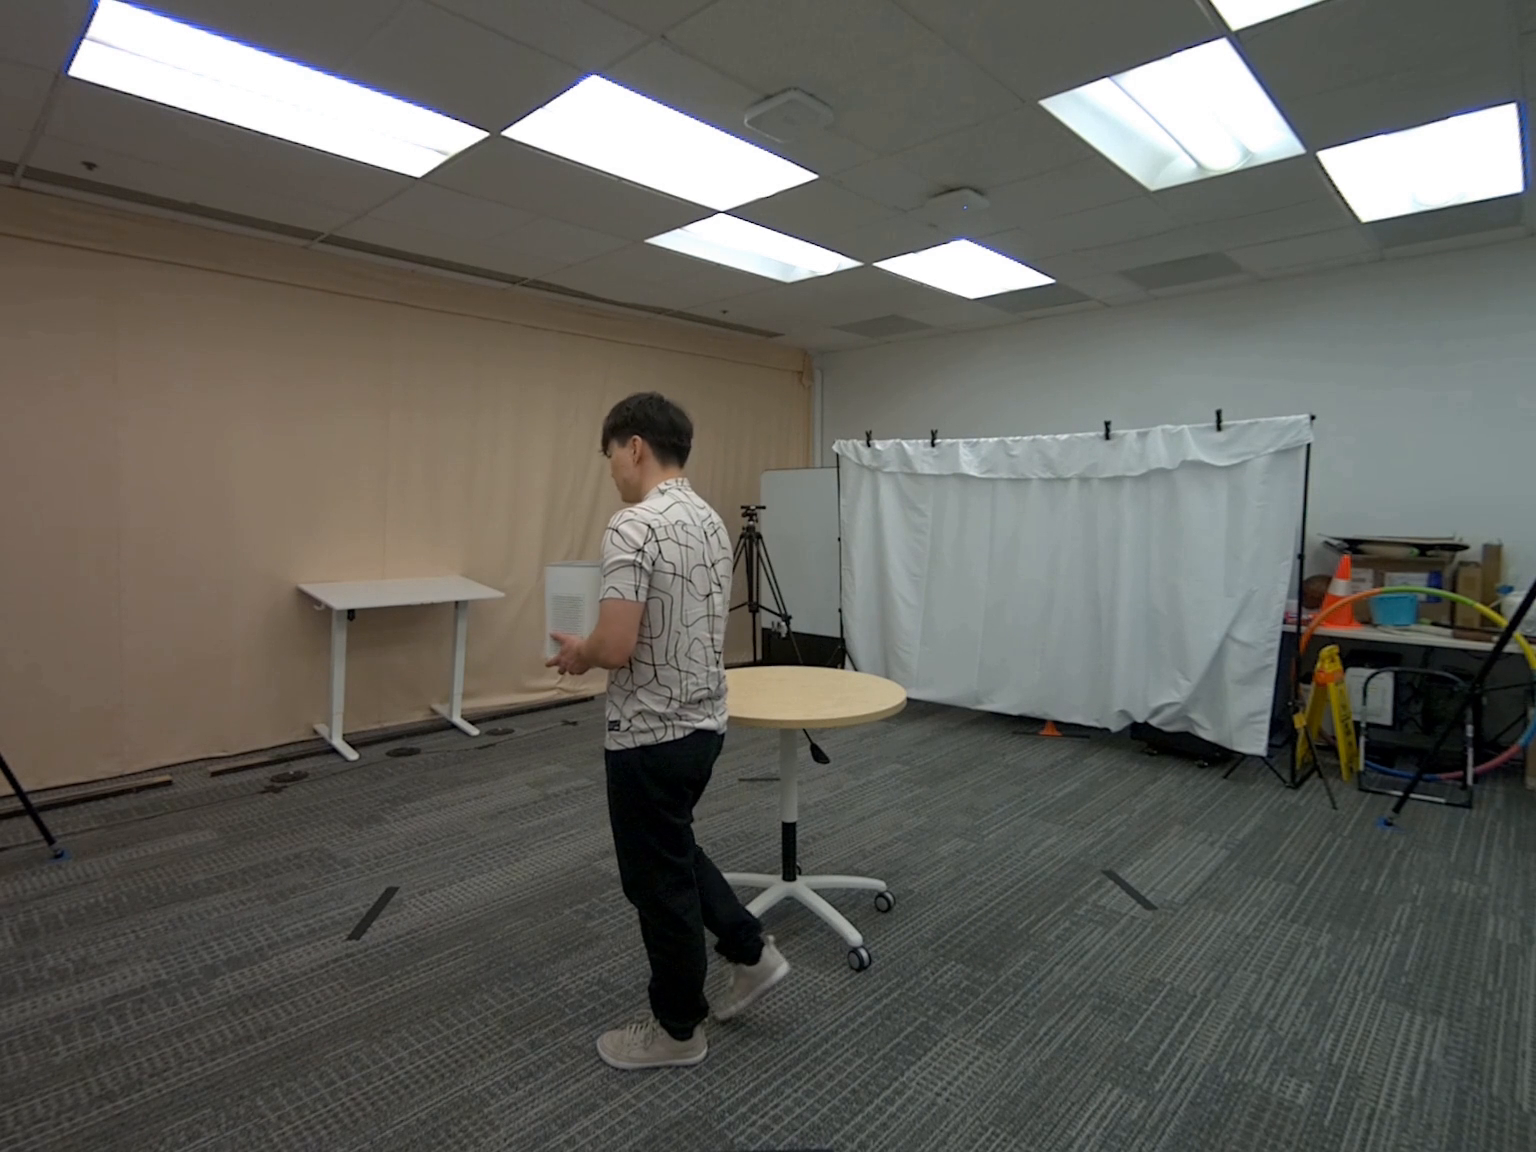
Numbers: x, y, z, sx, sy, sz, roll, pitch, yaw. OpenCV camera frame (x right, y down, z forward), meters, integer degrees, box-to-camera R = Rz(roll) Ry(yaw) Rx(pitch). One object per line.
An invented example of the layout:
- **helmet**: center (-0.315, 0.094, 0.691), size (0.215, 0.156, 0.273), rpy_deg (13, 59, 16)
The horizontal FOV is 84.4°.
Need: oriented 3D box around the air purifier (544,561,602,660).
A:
- **air purifier**: center (-0.468, 0.100, 2.190), size (0.174, 0.264, 0.169), rpy_deg (3, 5, 12)
